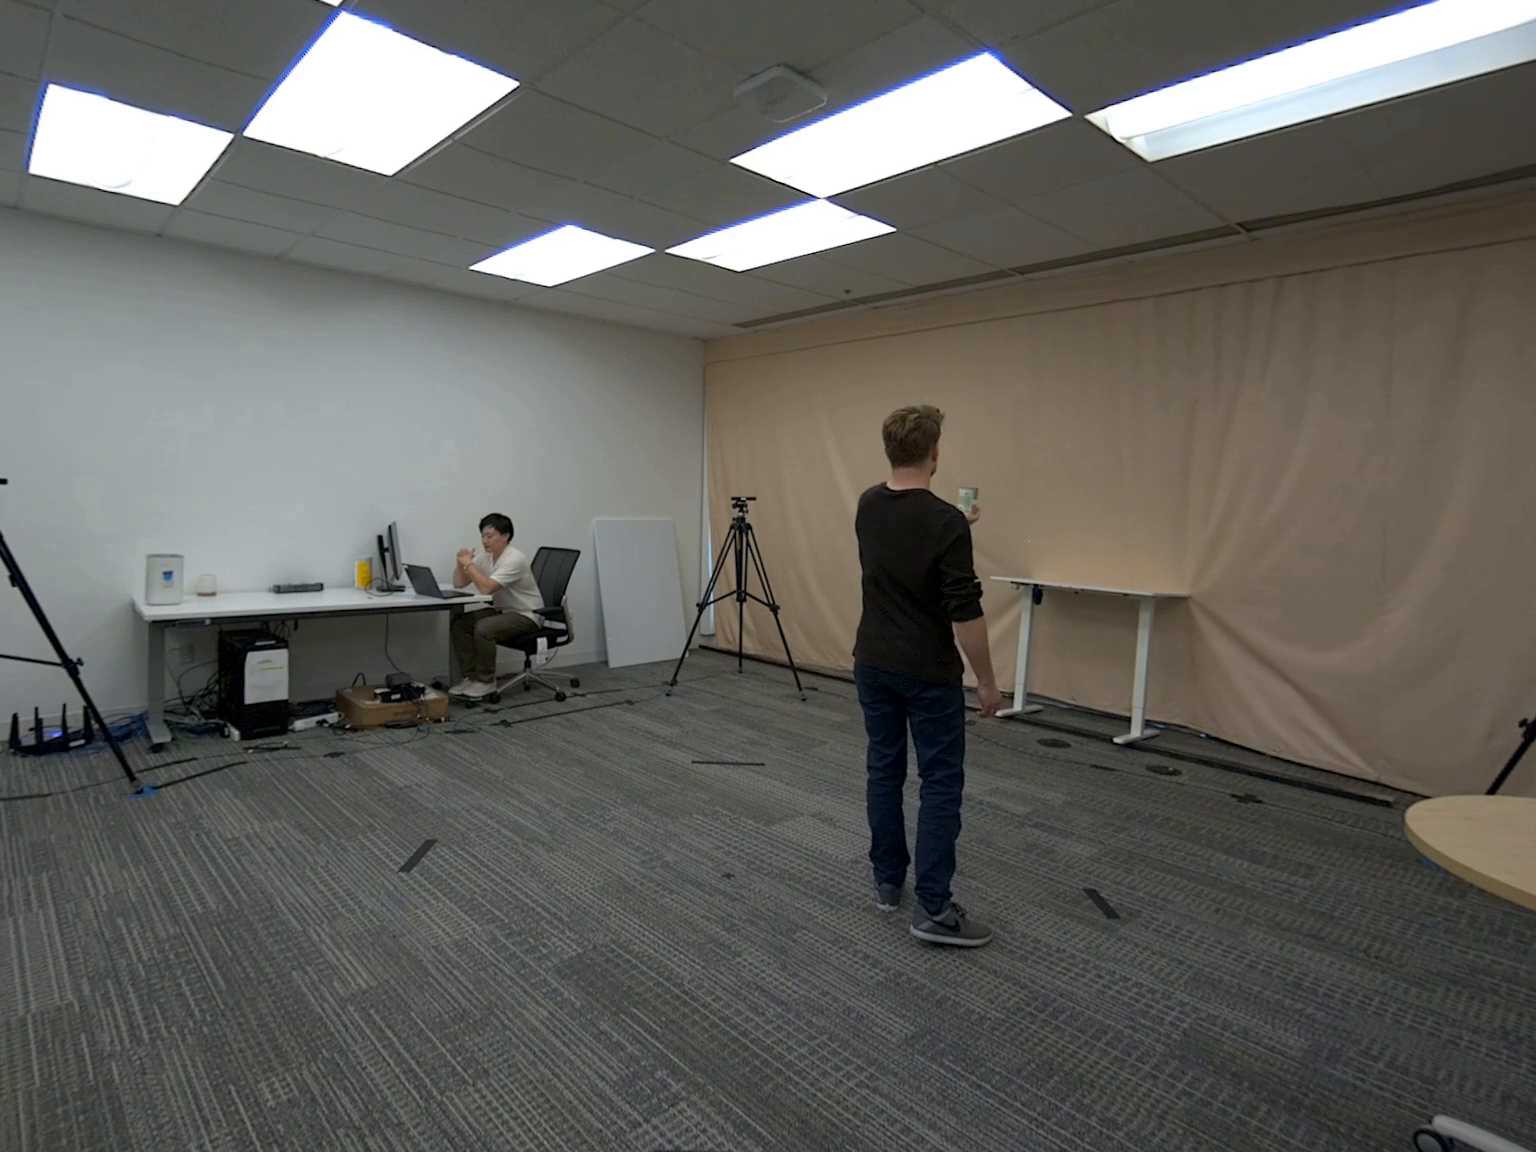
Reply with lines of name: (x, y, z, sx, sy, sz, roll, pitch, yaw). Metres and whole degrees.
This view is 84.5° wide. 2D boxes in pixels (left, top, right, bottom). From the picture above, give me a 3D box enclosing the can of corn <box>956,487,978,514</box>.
can of corn: (0.809, -0.294, 3.336, 0.074, 0.111, 0.074, -2, 2, -1)
